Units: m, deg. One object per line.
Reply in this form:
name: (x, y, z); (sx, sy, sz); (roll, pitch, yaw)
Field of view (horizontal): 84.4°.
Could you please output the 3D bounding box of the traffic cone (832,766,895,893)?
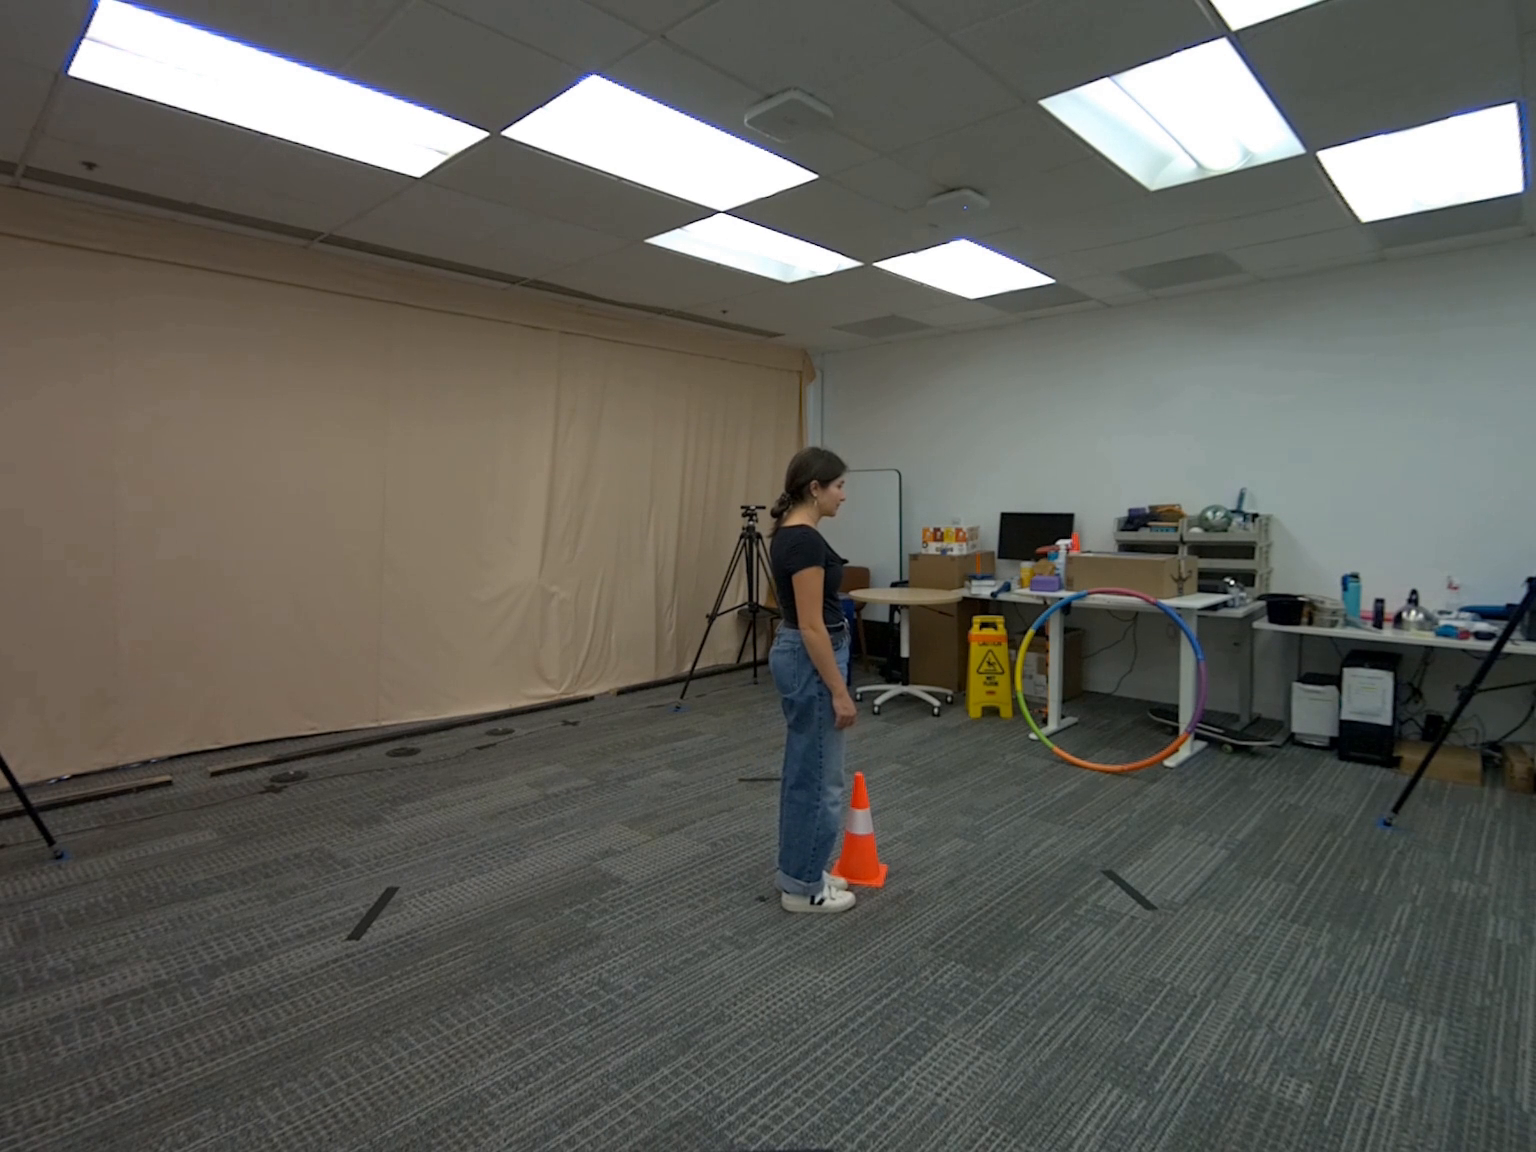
traffic cone: (0.356, 0.939, 3.176); (0.207, 0.383, 0.202); (0, 3, 16)
